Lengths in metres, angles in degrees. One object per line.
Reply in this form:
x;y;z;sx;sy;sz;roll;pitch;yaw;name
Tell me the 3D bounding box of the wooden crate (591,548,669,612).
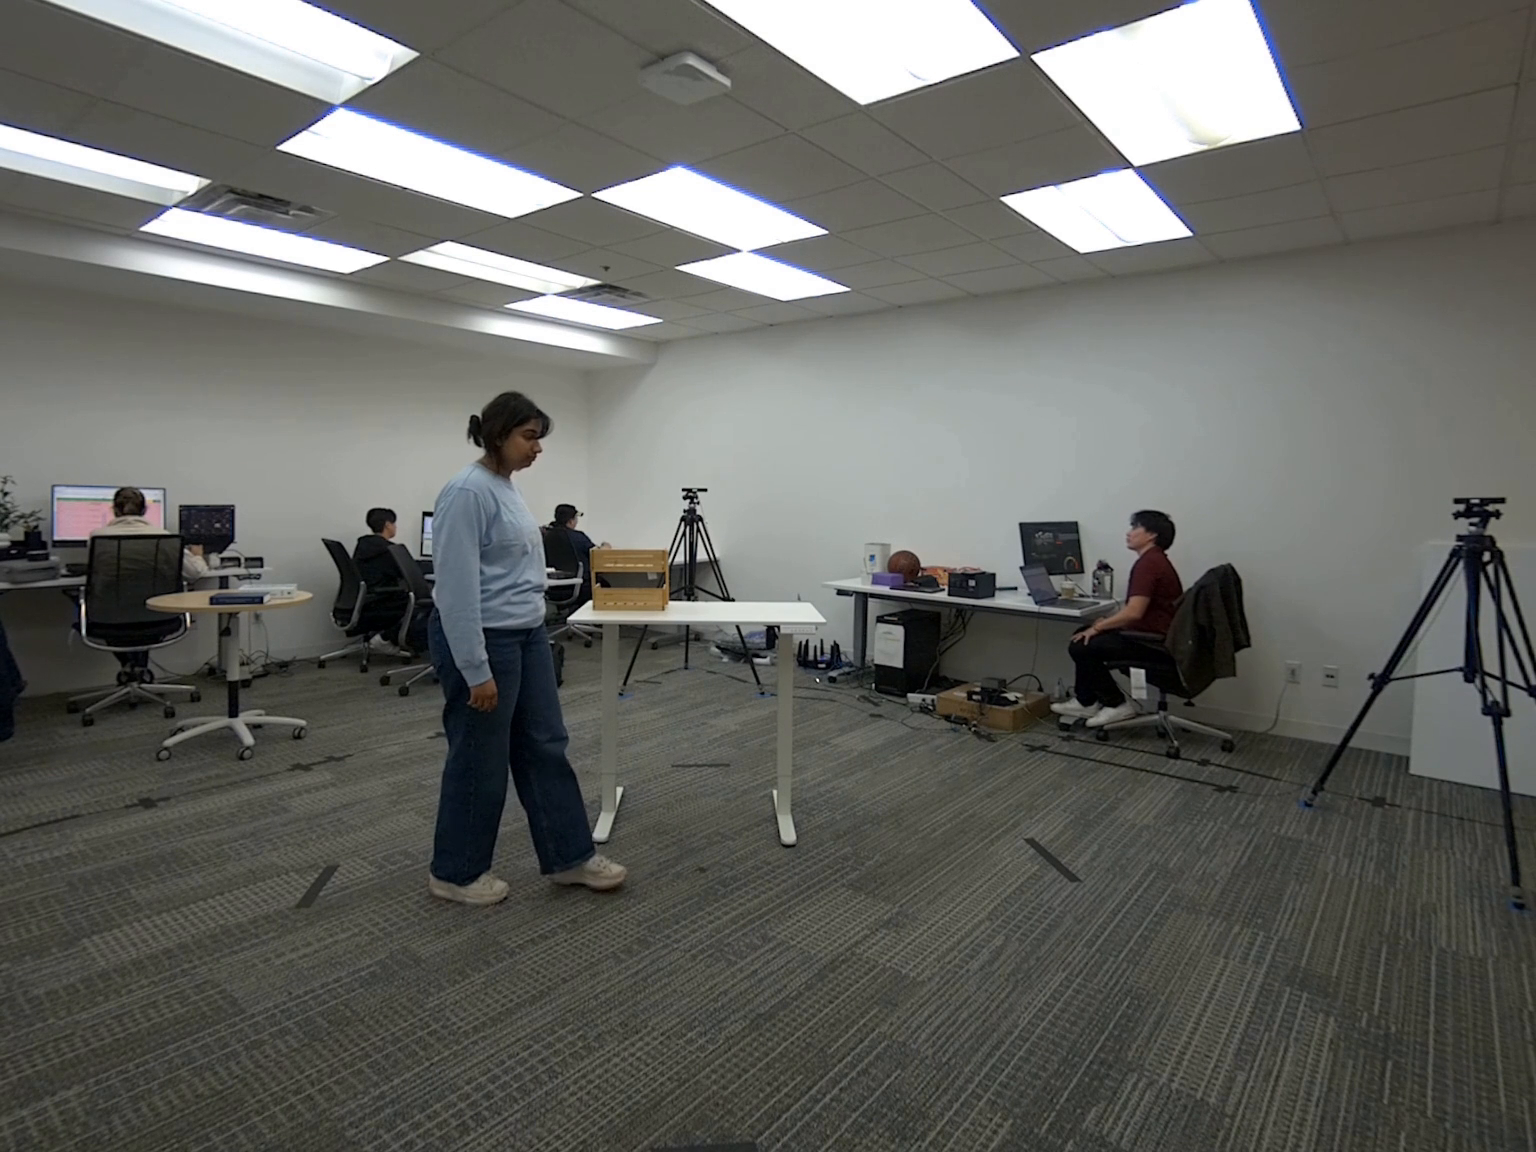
-0.605;-0.003;3.642;0.323;0.272;0.305;0;6;-5;wooden crate
